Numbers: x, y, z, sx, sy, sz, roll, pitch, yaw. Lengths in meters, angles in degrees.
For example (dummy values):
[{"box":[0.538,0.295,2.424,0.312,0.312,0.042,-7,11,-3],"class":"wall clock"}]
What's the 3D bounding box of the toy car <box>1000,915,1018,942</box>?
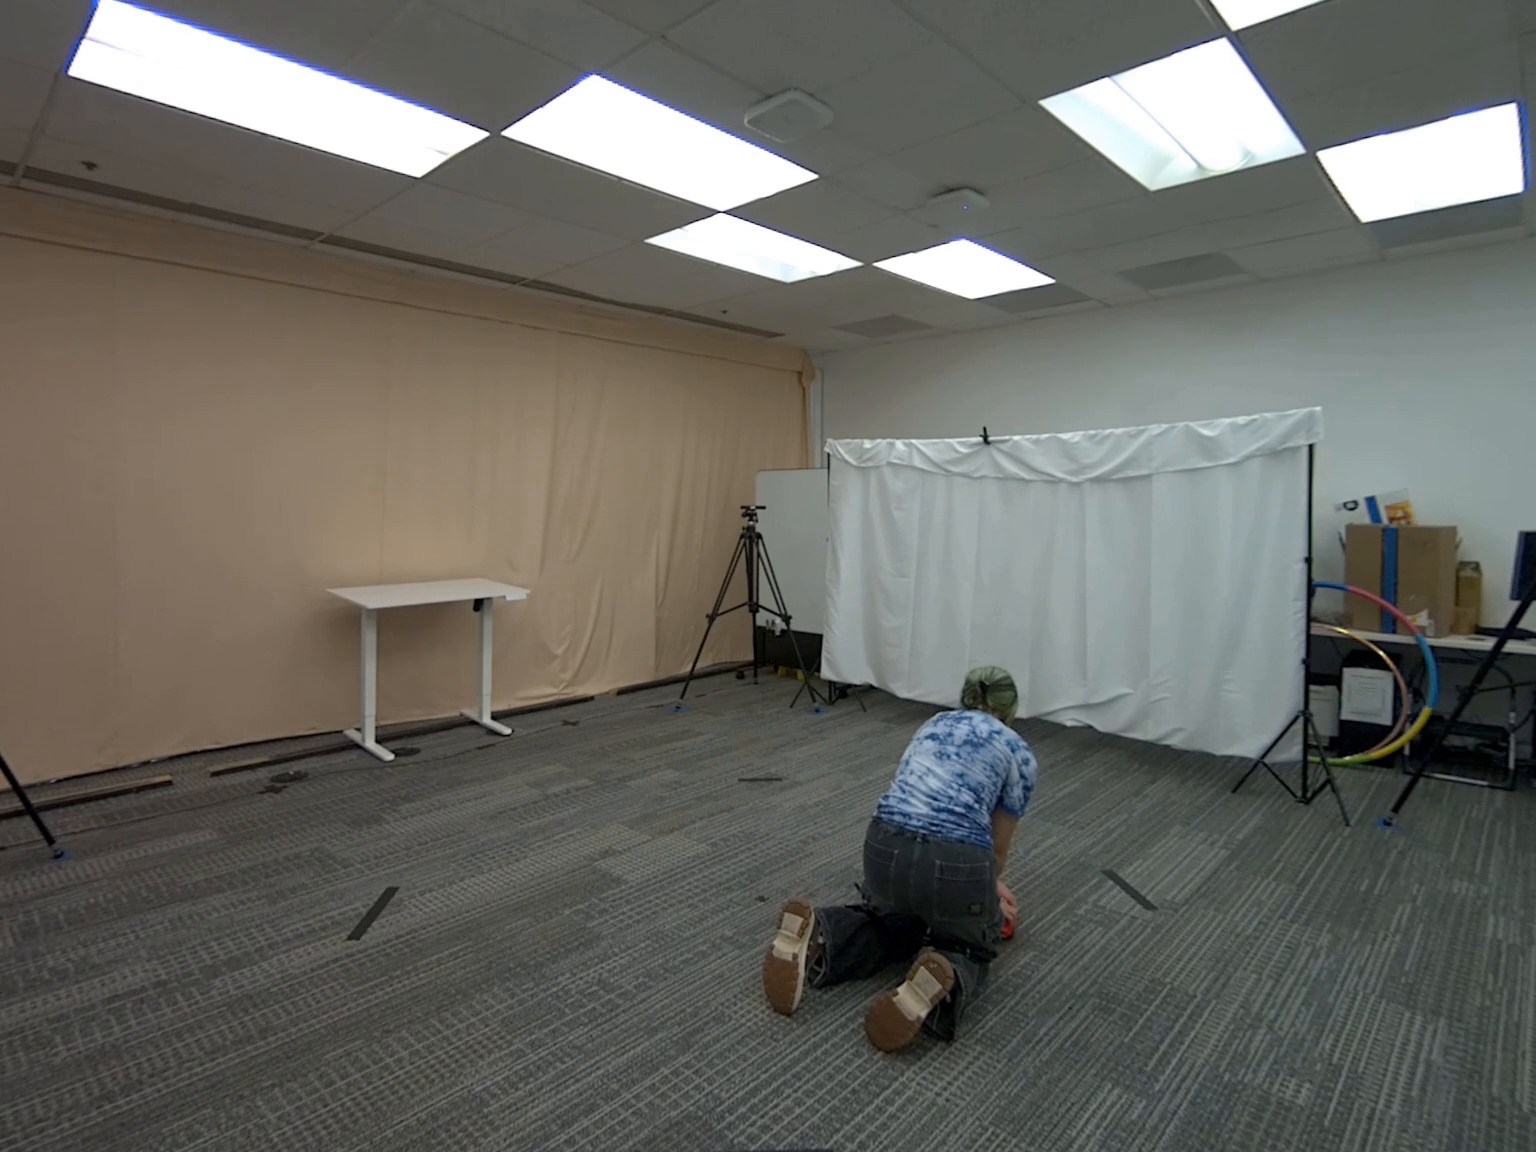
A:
[{"box":[0.766,1.128,2.773,0.133,0.083,0.248,5,-3,20],"class":"toy car"}]
